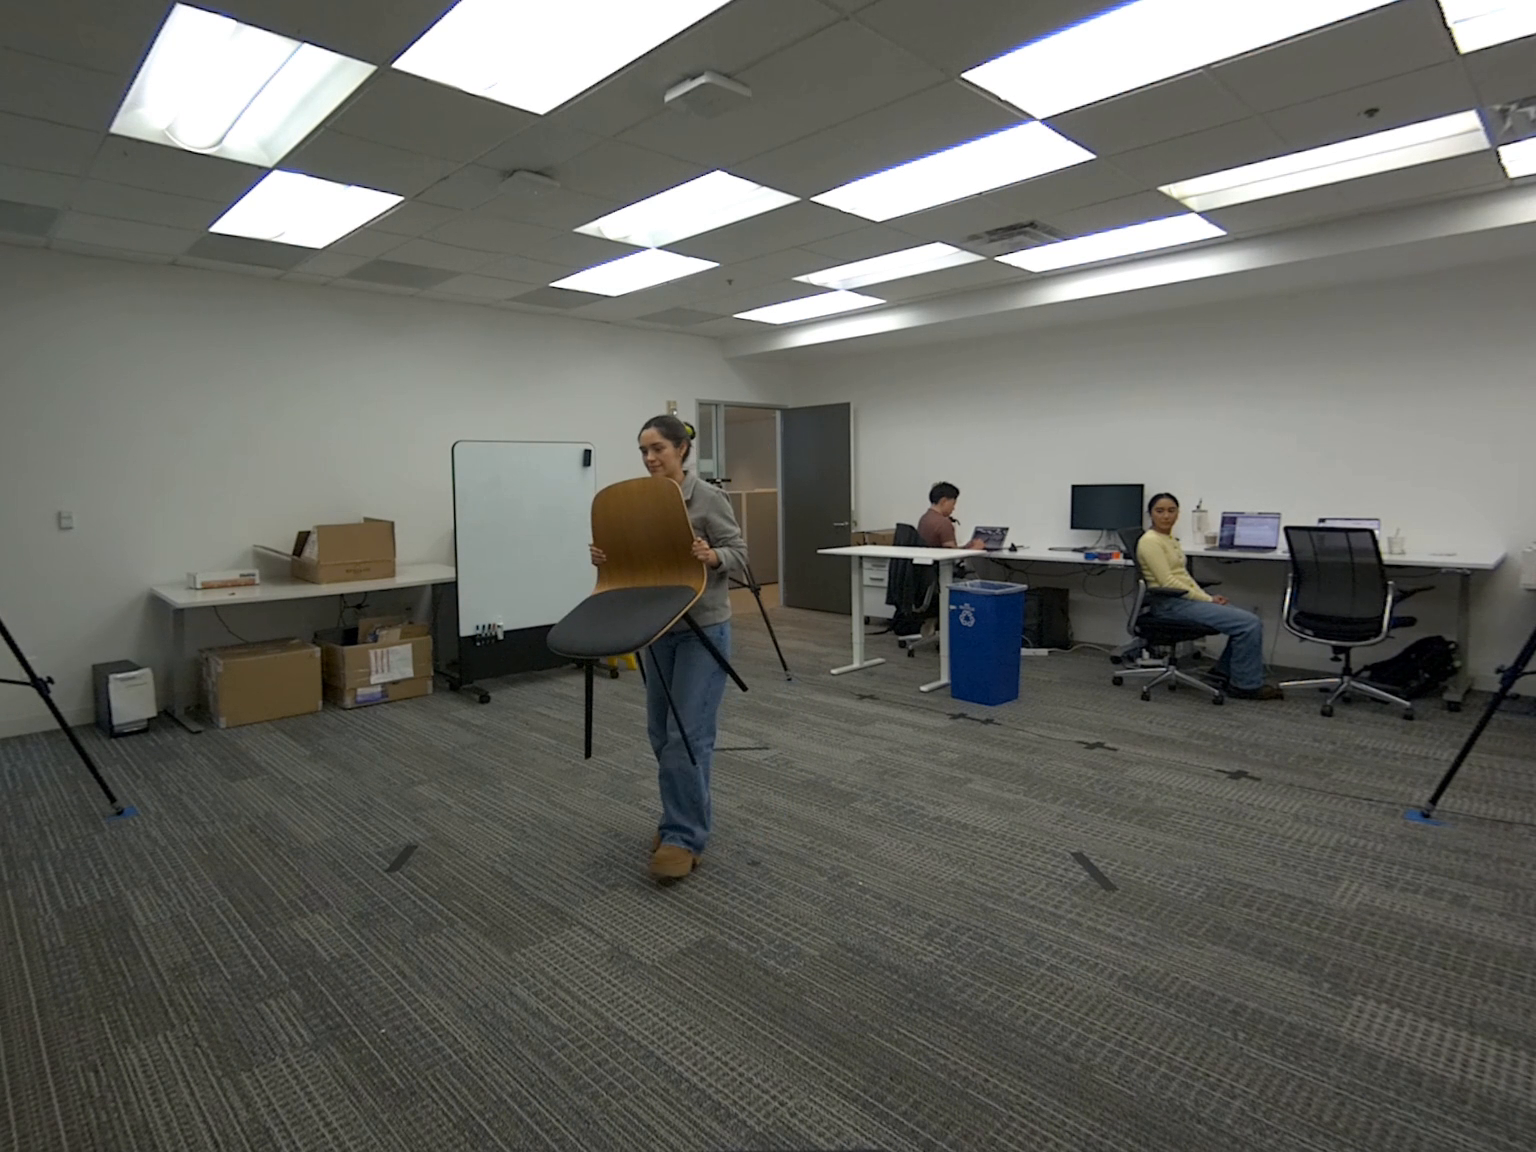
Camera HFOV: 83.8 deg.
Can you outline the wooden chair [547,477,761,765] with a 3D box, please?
[{"bbox_3d":[-0.464,0.161,2.920,0.489,0.863,0.520,-4,18,28],"label":"wooden chair"}]
